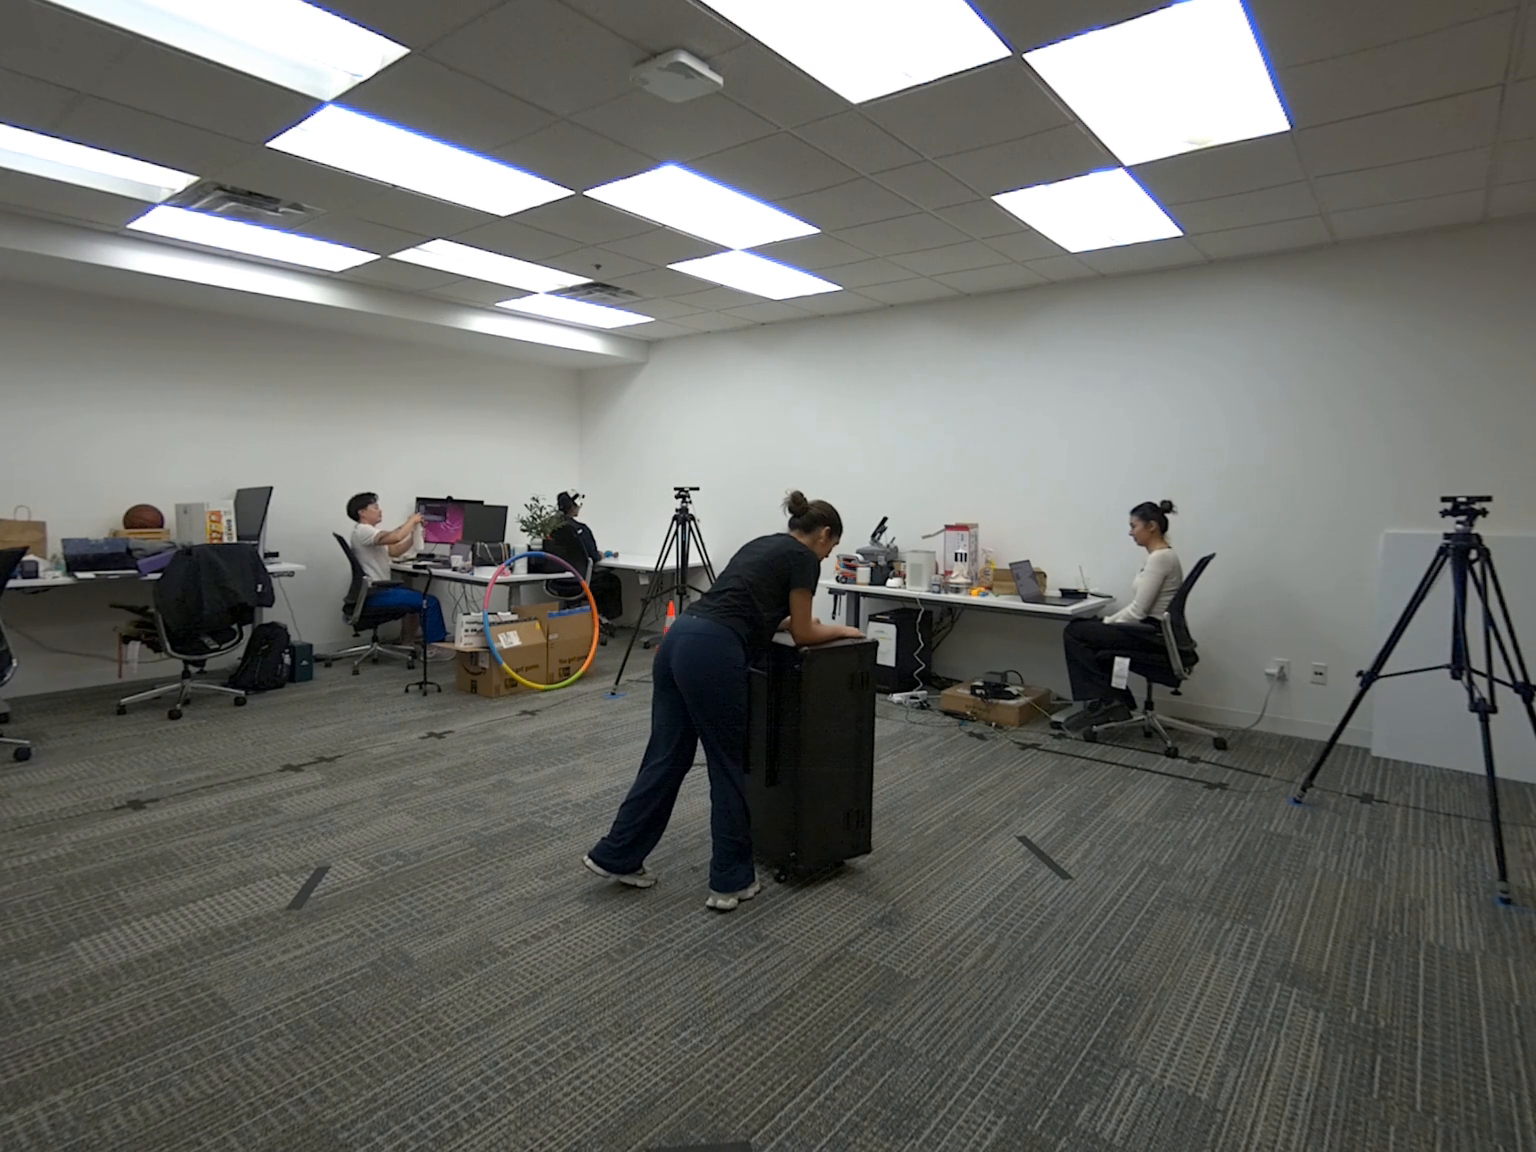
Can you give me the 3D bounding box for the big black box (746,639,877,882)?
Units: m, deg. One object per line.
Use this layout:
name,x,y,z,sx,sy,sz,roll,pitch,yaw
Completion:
big black box,0.113,0.579,3.196,0.385,0.859,0.538,-1,4,-34
